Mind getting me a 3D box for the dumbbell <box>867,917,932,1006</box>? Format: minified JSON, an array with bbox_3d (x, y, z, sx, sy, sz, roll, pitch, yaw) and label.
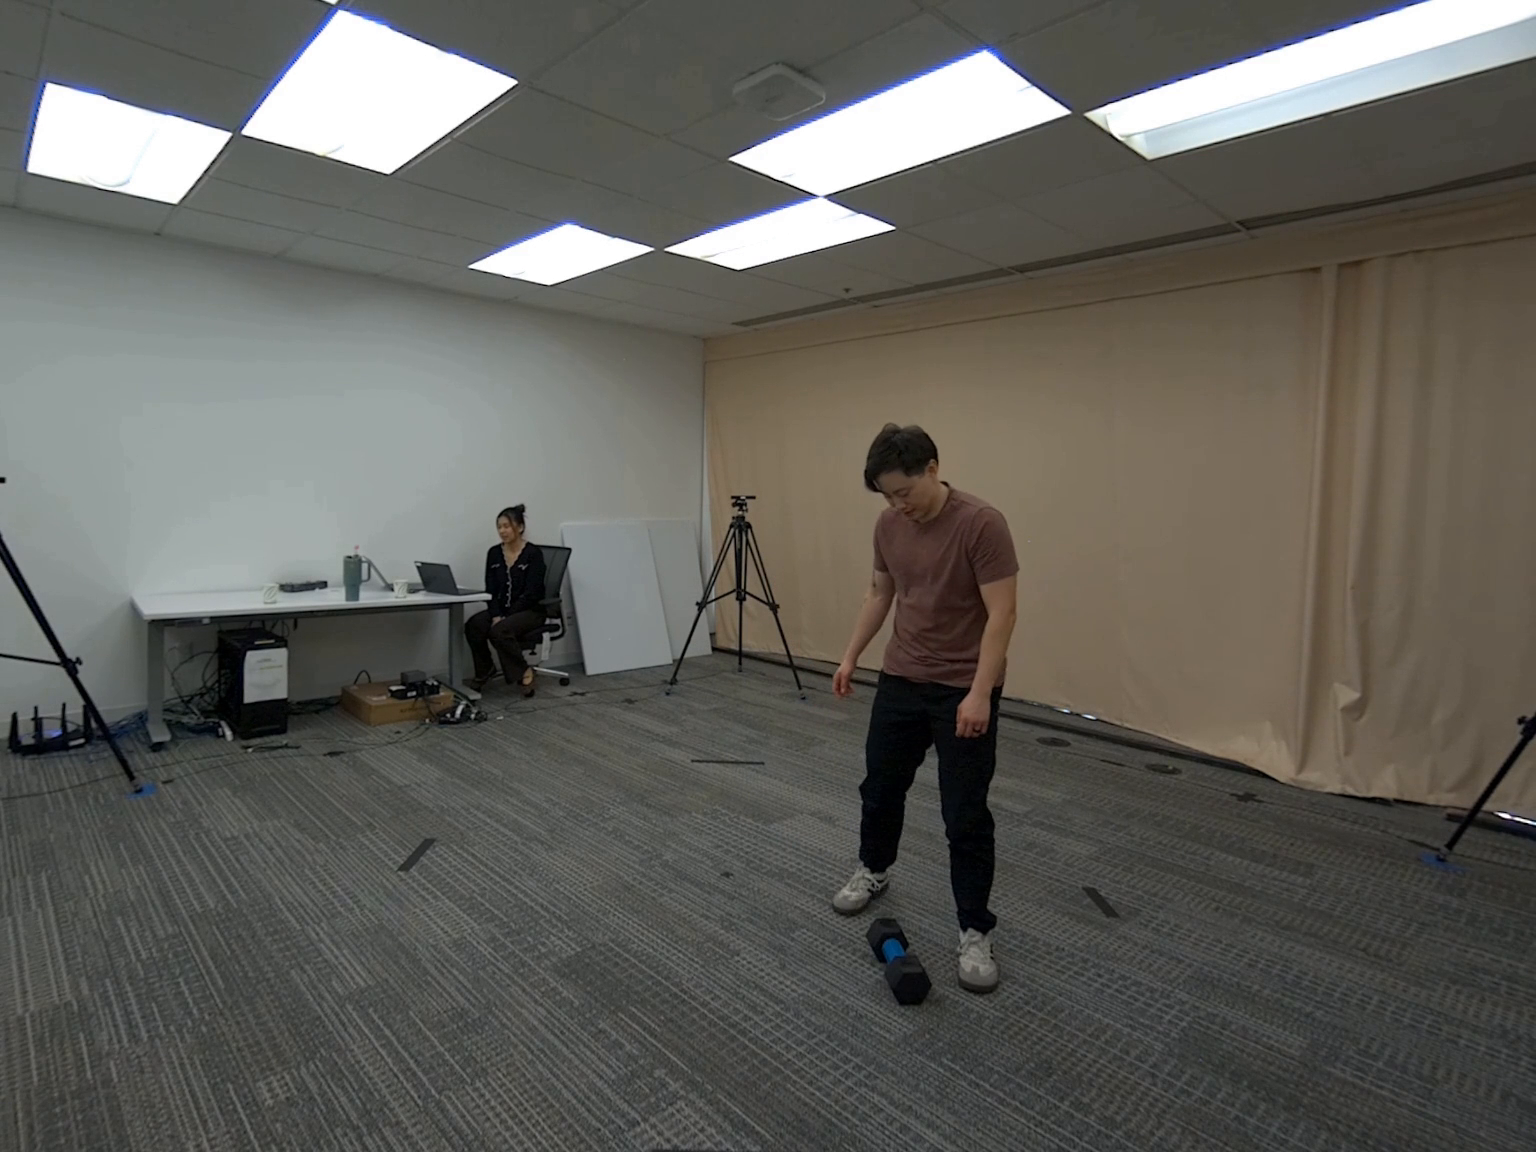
[{"bbox_3d":[0.374,1.128,2.455,0.122,0.108,0.295,2,4,-6],"label":"dumbbell"}]
